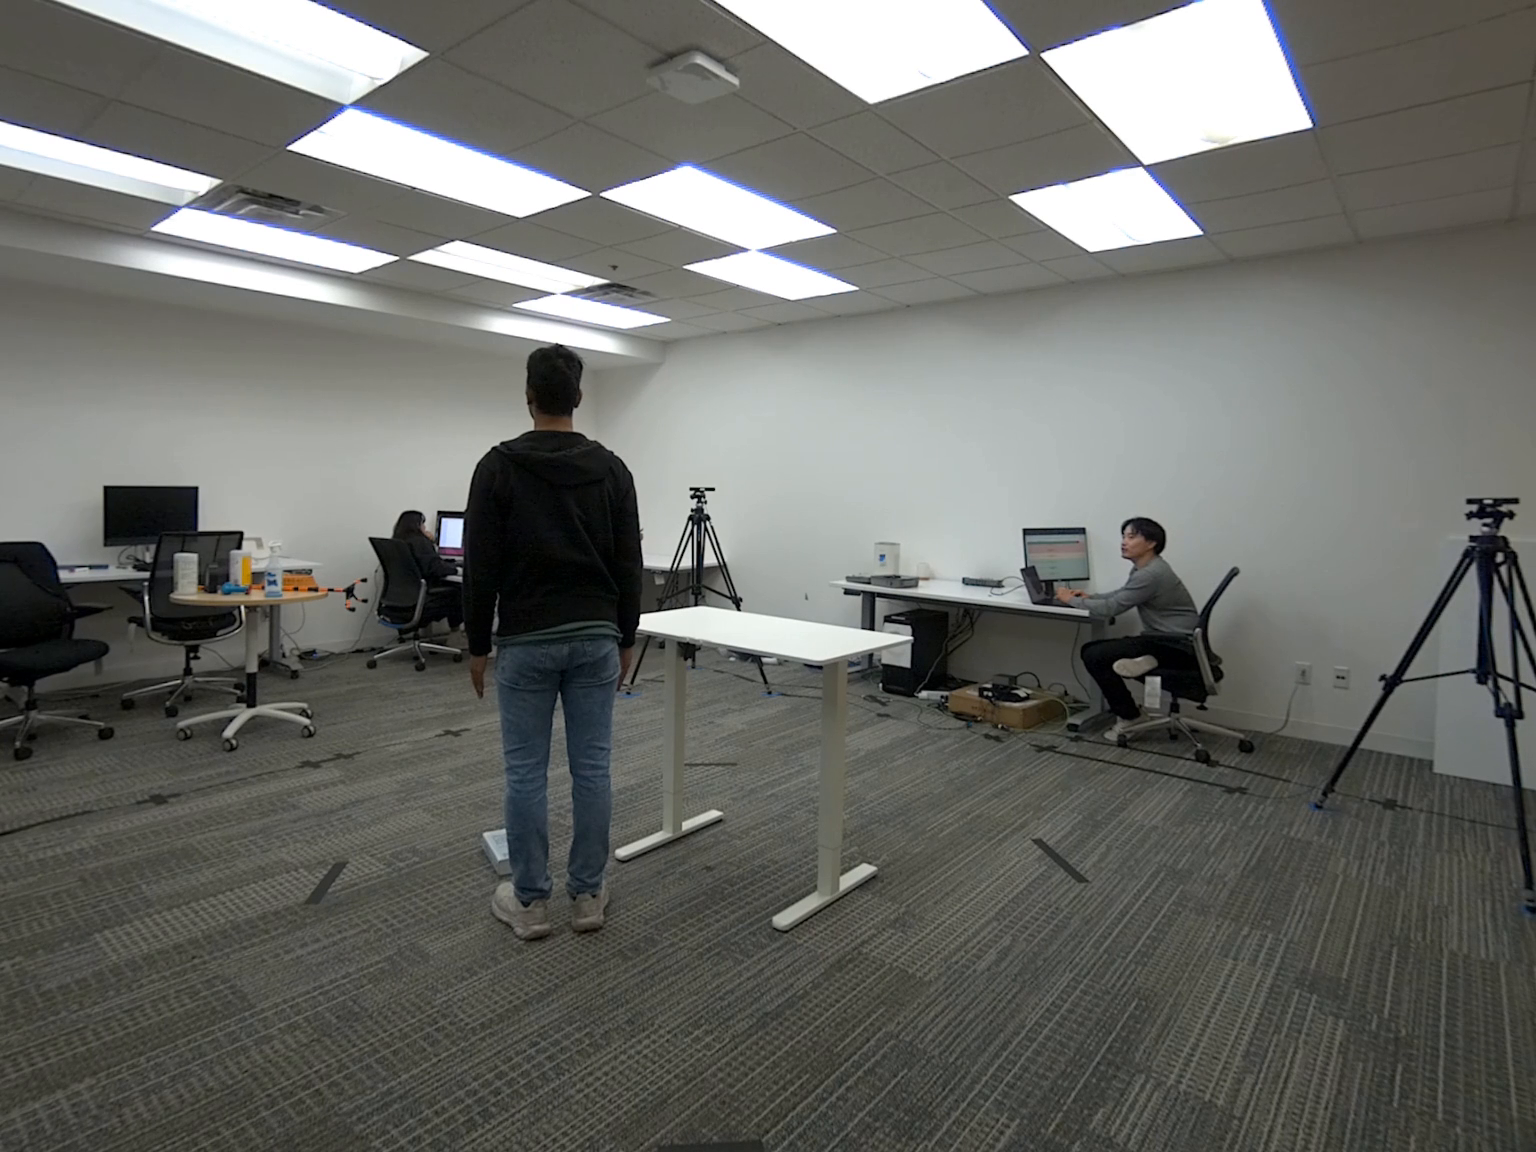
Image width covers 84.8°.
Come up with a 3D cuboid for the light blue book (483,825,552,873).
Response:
[{"bbox_3d":[-0.949,1.014,3.167,0.186,0.059,0.269,-2,6,-29],"label":"light blue book"}]
